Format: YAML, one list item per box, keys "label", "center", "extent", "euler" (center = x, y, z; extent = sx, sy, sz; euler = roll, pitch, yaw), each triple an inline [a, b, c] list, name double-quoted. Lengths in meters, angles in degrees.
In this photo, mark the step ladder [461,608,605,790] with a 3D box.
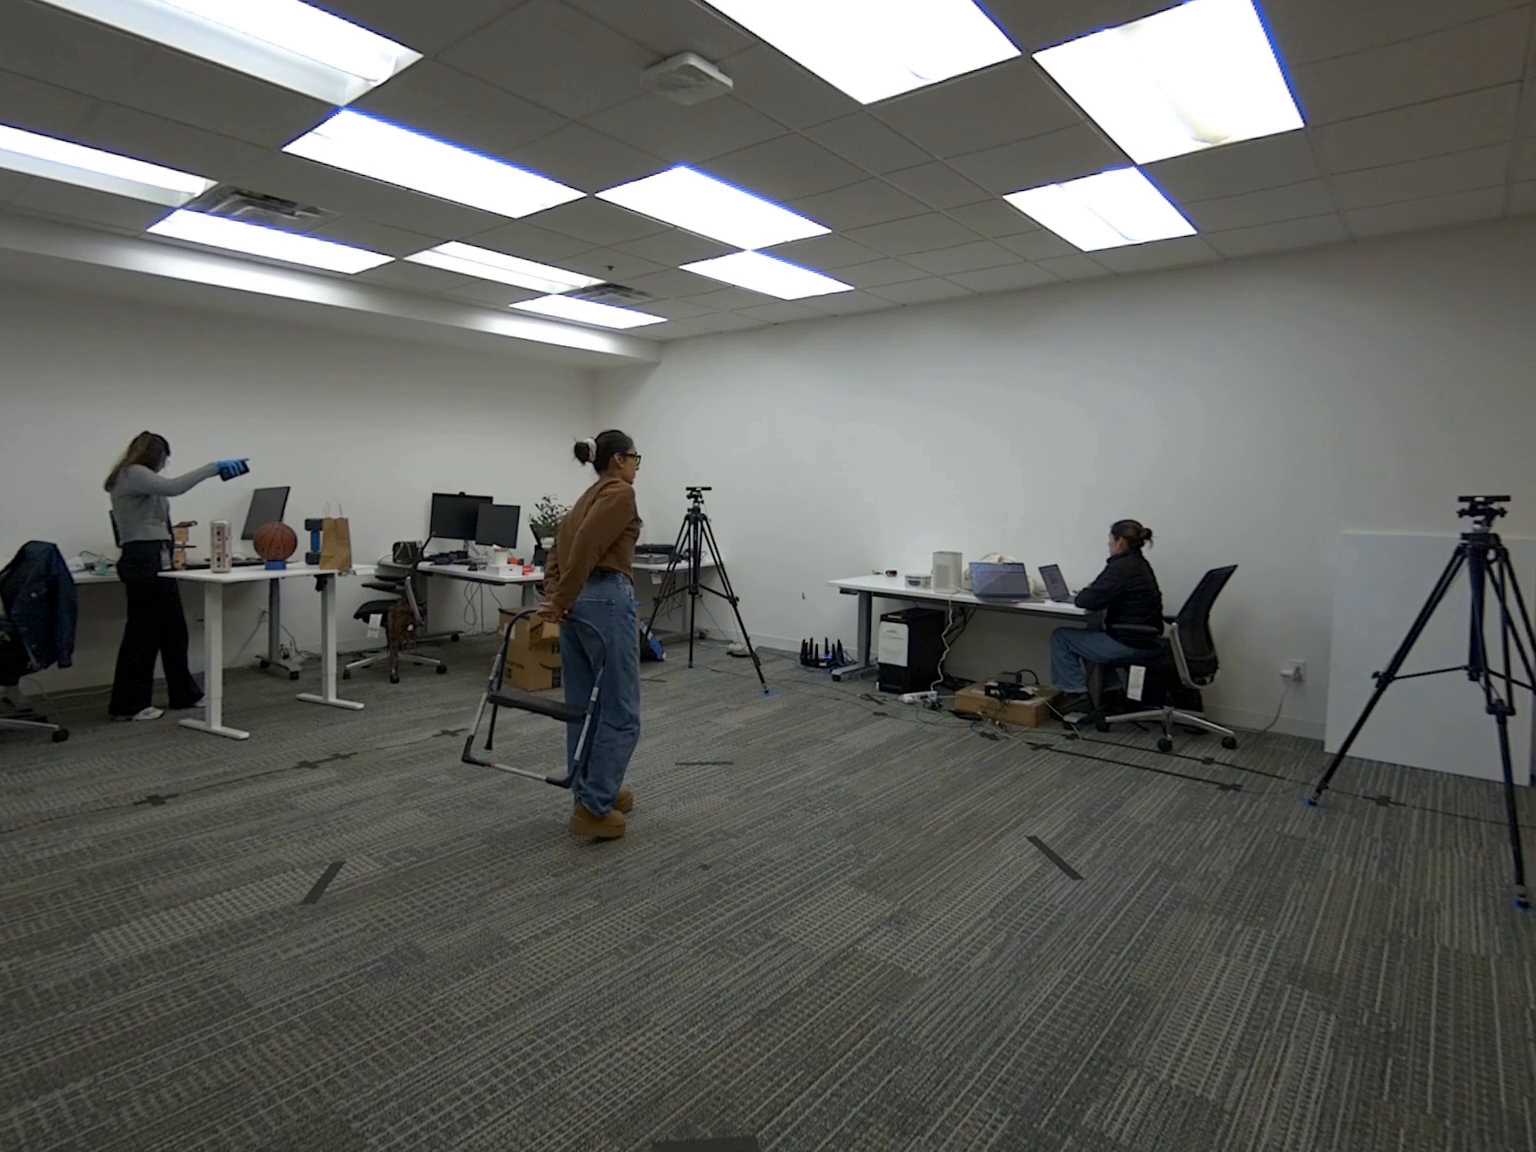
- label: "step ladder"
  center: [-0.875, 0.437, 3.264]
  extent: [0.432, 0.608, 0.347]
  euler: [12, -4, 1]
